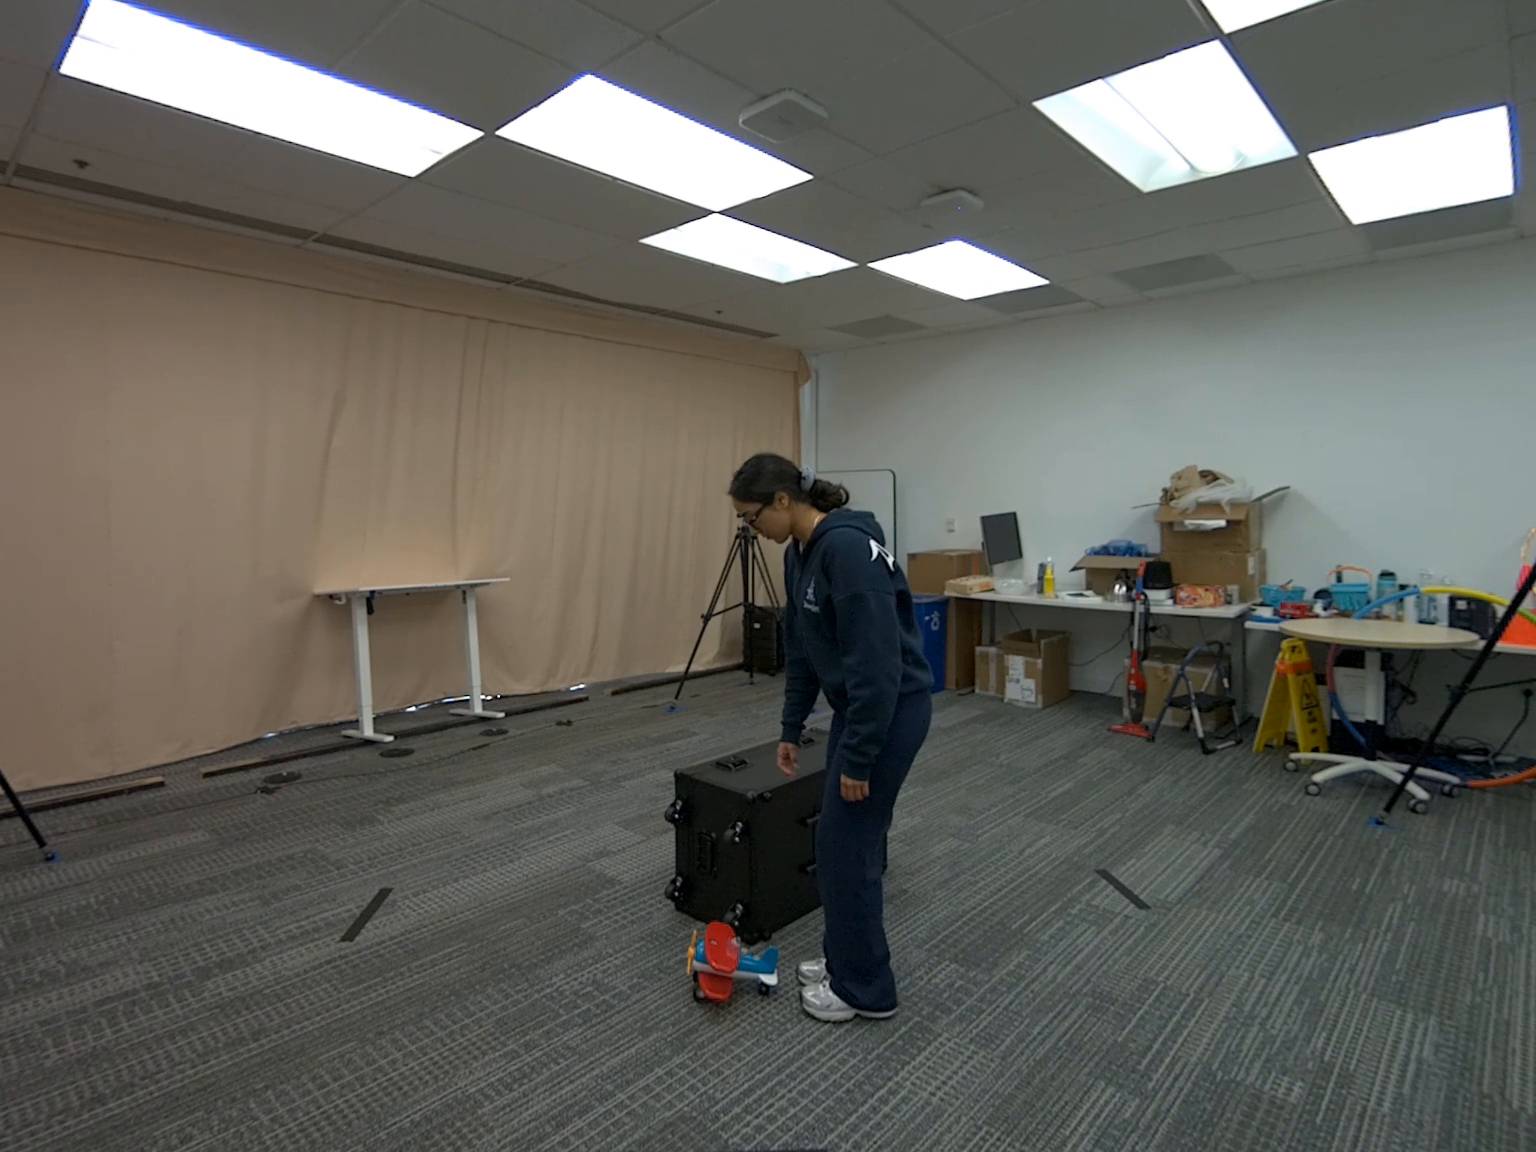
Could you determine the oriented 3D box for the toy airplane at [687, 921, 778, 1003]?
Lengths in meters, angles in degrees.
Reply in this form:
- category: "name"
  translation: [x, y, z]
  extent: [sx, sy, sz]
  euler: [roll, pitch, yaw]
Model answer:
- category: "toy airplane"
  translation: [-0.092, 1.118, 2.426]
  extent: [0.253, 0.156, 0.258]
  euler: [-1, 3, -27]
